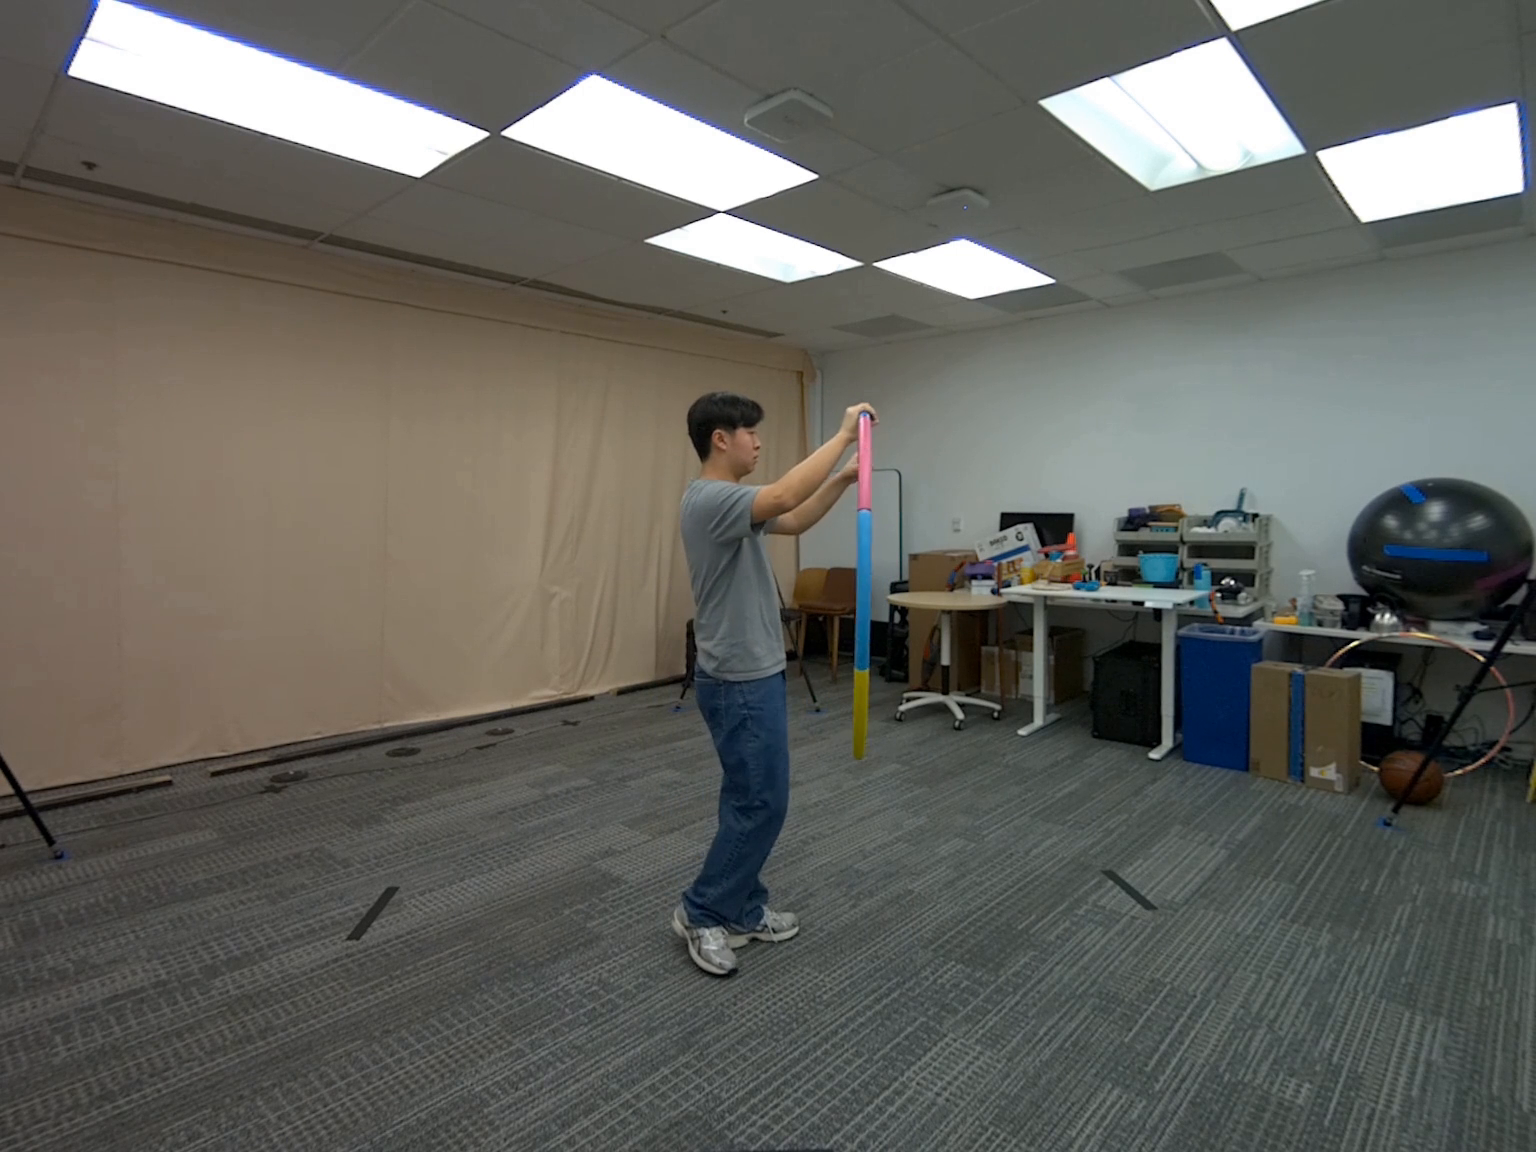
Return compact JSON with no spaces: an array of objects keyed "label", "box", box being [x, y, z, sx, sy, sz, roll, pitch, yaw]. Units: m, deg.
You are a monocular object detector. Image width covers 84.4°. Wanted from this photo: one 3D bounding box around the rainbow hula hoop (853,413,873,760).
[{"label":"rainbow hula hoop","box":[0.282,0.019,2.459,0.036,0.976,0.971,1,4,7]}]
